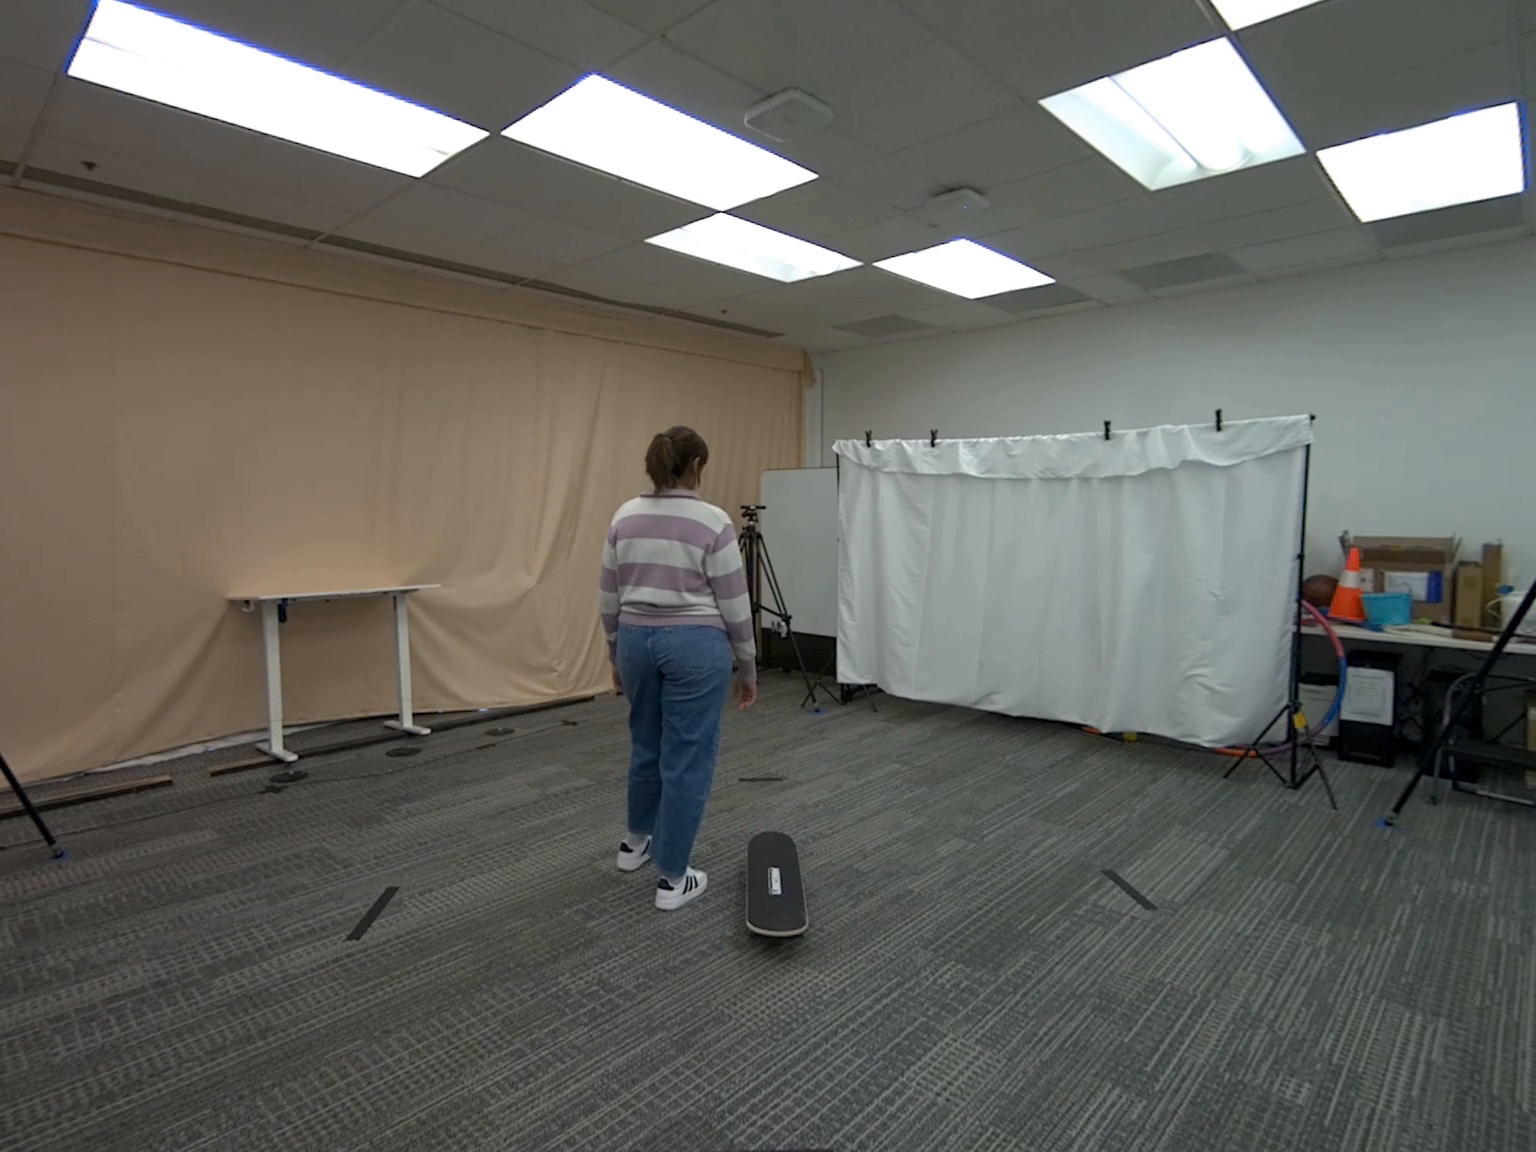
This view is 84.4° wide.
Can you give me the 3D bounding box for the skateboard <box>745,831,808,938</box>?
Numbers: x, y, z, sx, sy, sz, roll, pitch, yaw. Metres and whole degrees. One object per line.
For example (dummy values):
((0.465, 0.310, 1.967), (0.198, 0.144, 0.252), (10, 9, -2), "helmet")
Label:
((0.025, 1.089, 2.926), (0.194, 0.110, 0.786), (0, 5, 0), "skateboard")
